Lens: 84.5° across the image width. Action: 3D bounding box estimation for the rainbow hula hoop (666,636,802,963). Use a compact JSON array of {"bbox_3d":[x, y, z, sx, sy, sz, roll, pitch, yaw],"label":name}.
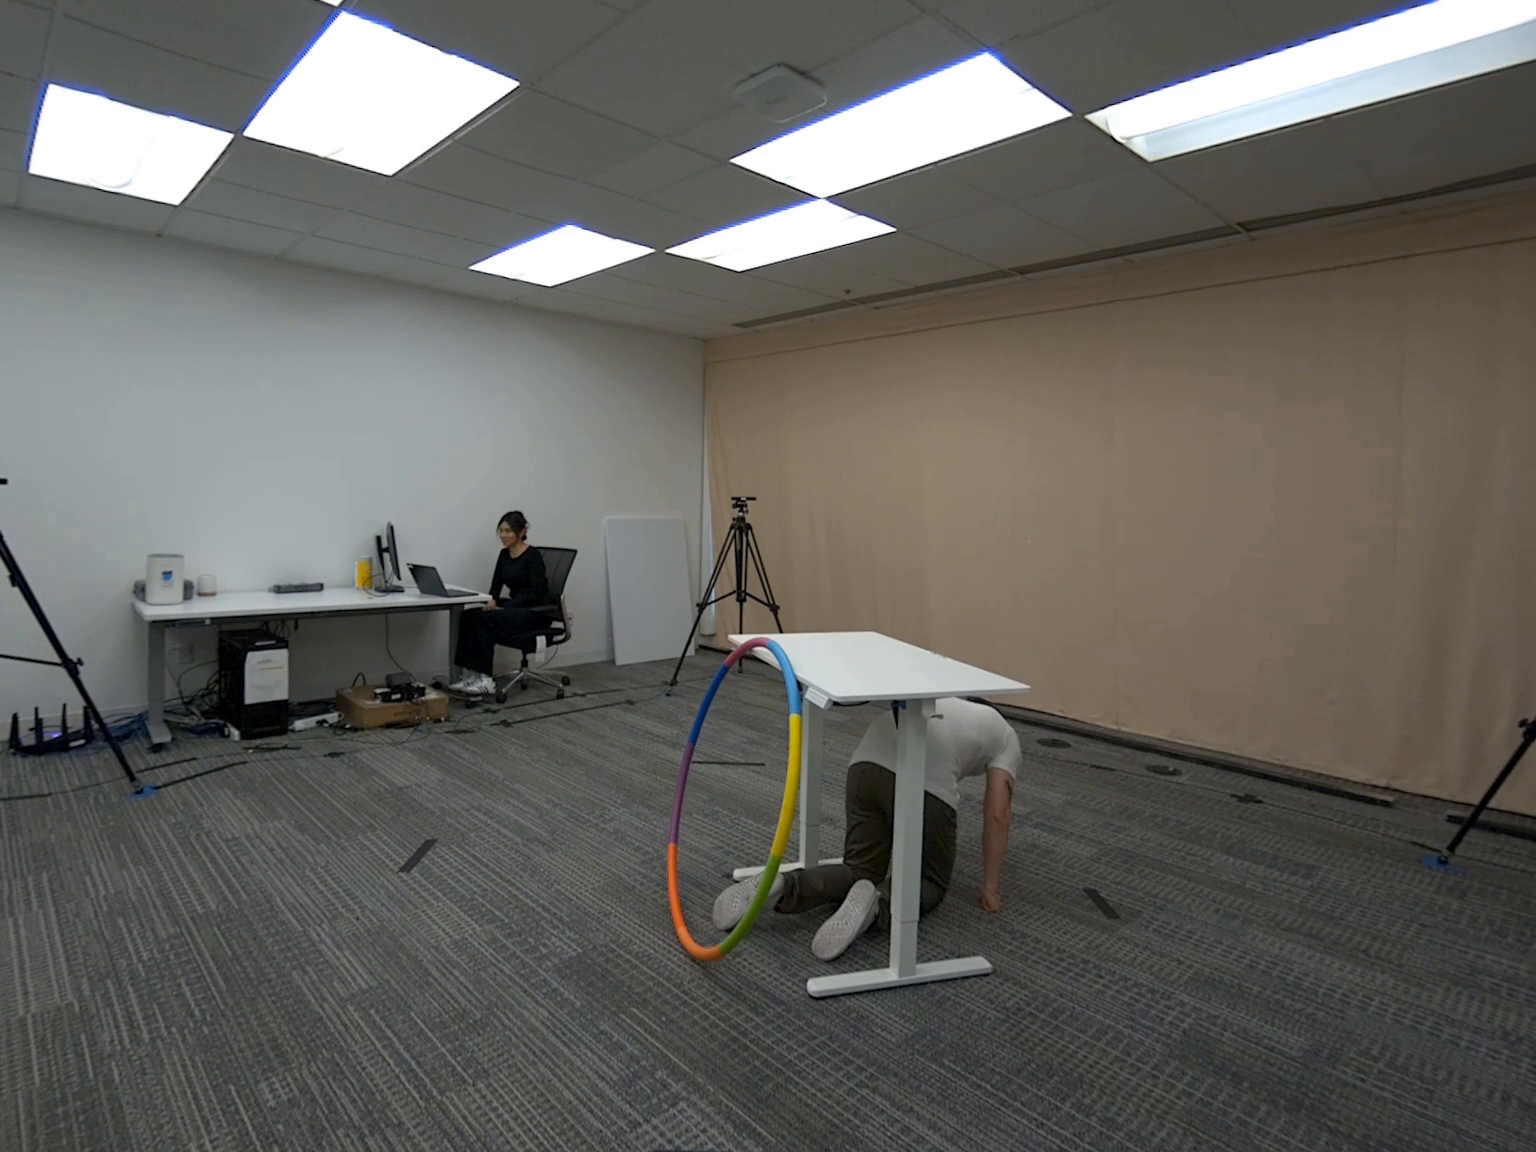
[{"bbox_3d":[-0.137,0.679,2.658,0.035,0.979,0.995,17,-1,-20],"label":"rainbow hula hoop"}]
